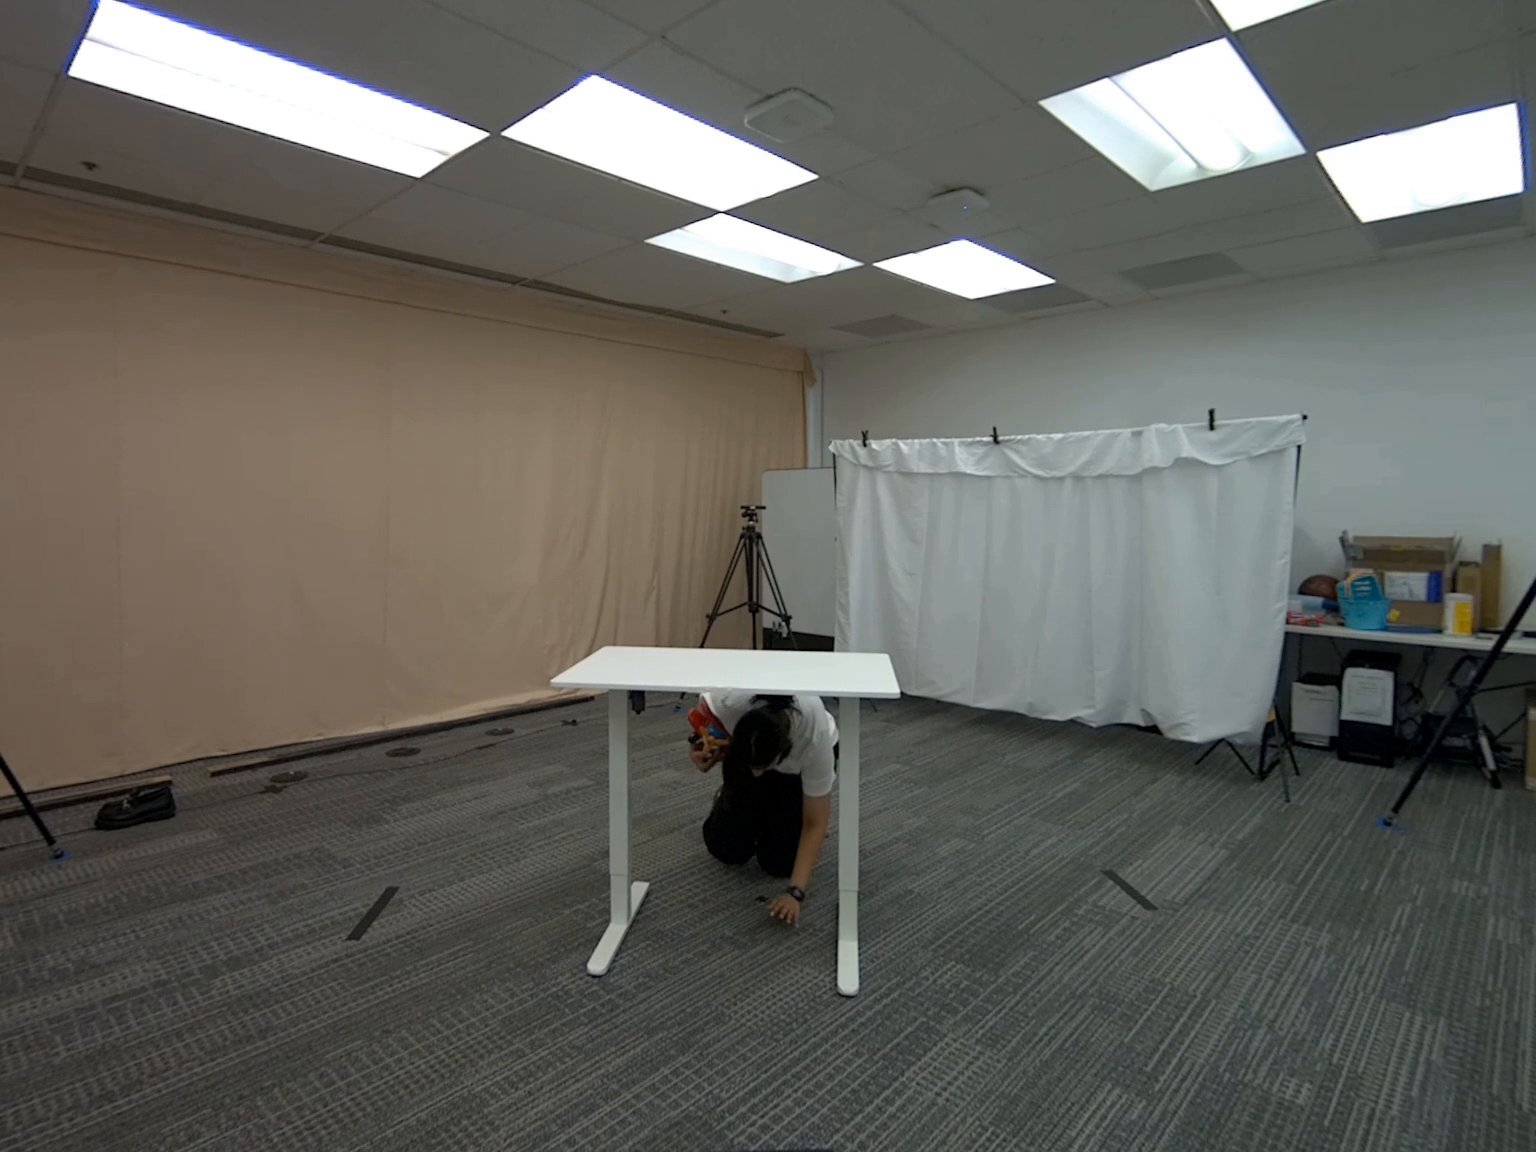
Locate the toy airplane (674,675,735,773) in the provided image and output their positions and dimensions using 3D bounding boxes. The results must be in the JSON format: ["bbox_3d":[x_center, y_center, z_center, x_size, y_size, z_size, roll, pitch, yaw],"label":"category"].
[{"bbox_3d":[-0.190,0.567,3.217,0.245,0.263,0.158,30,-48,-22],"label":"toy airplane"}]
